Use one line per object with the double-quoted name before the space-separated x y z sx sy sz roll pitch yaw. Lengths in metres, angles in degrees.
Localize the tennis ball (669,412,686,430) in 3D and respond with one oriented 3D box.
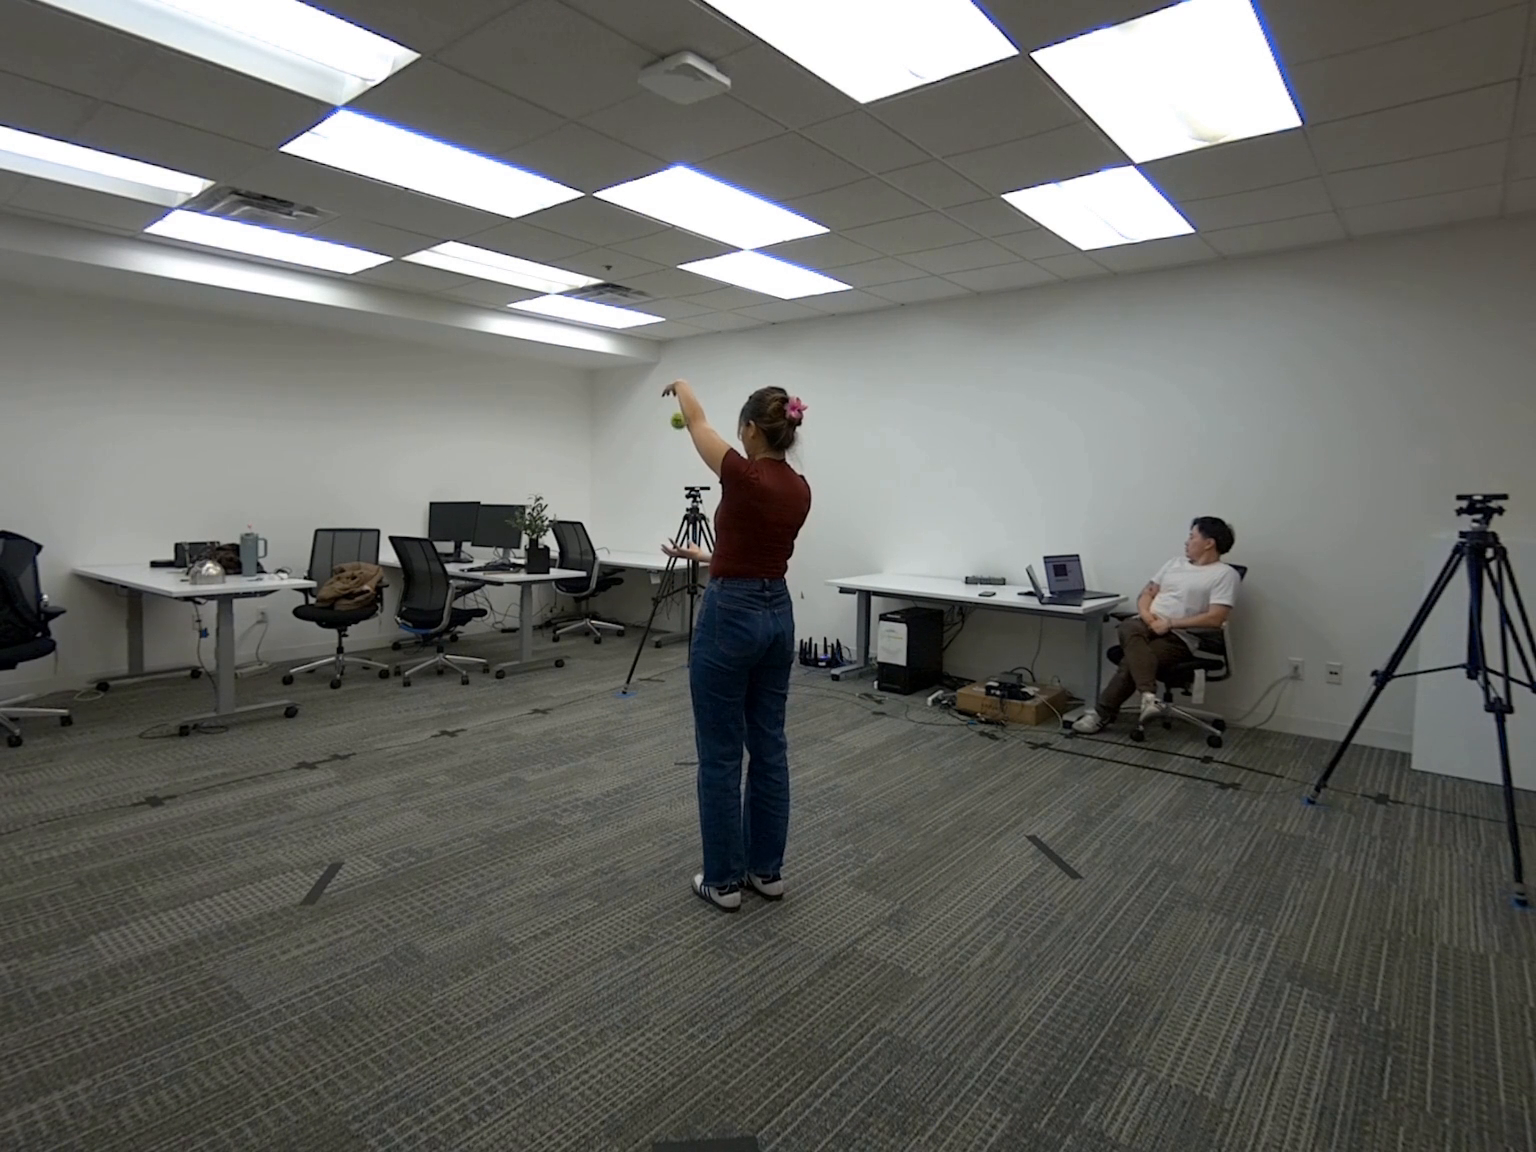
"tennis ball" -0.350 -0.576 3.247 0.066 0.066 0.067 1 4 -2
